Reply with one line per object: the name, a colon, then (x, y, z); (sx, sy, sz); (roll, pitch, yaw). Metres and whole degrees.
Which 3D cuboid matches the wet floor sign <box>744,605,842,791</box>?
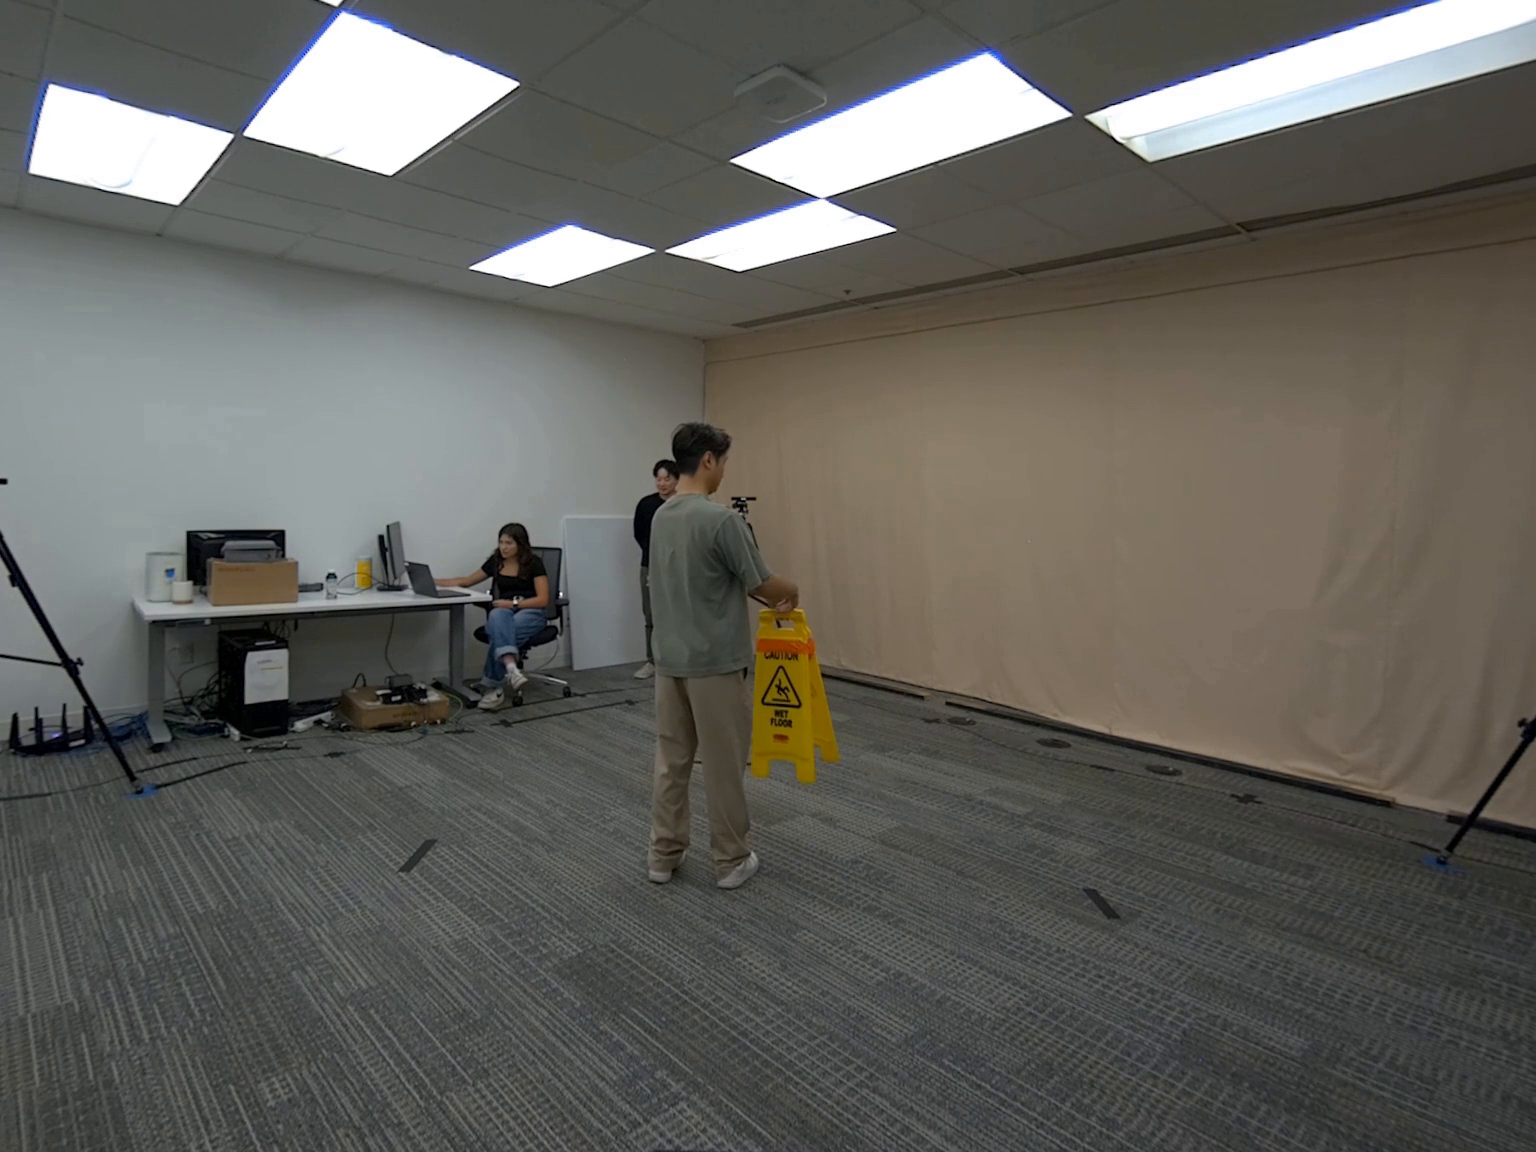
wet floor sign: (0.072, 0.463, 3.346); (0.288, 0.643, 0.285); (-2, 6, 31)
